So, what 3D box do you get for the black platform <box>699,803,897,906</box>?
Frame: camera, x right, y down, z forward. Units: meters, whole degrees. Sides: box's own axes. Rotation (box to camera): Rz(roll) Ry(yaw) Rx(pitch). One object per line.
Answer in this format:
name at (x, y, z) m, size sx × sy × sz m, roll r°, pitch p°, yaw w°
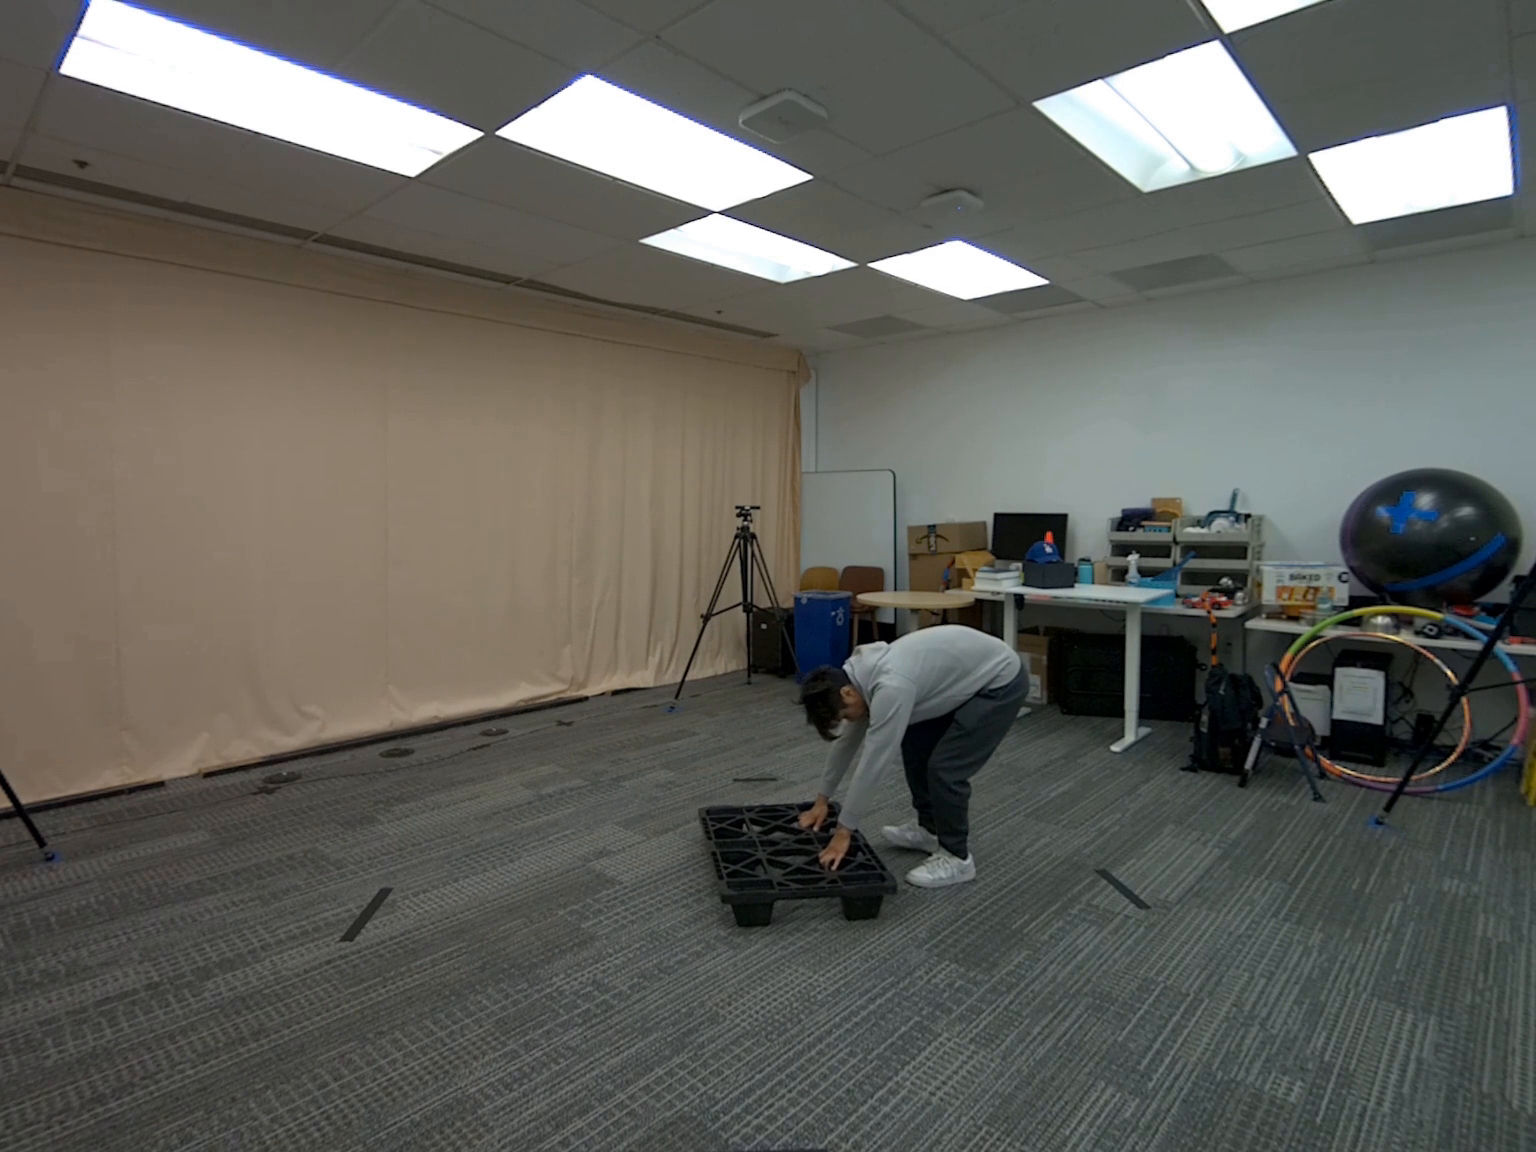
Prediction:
black platform at (0.076, 1.057, 3.165) m, size 0.600 × 0.143 × 0.815 m, roll 0°, pitch 5°, yaw -9°
